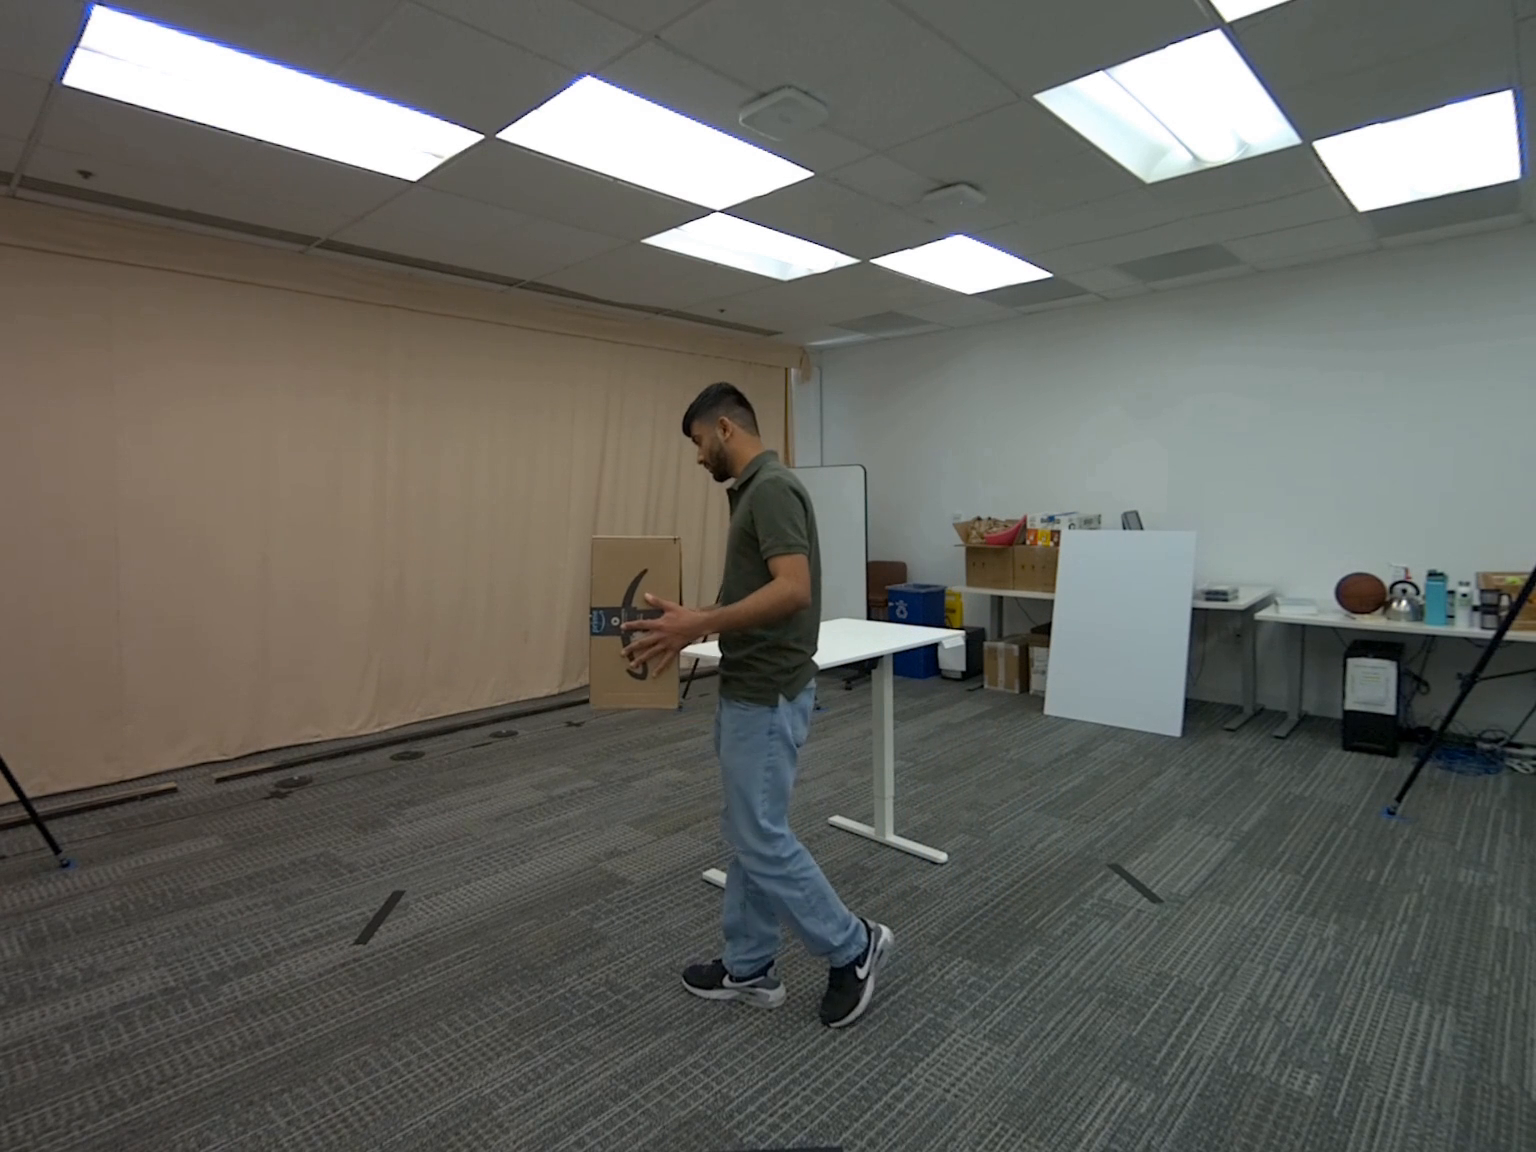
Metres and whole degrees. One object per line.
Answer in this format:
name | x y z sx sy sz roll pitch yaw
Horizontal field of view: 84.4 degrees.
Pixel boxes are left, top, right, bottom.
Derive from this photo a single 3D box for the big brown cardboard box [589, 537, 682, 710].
big brown cardboard box | -0.344 0.117 2.303 0.232 0.418 0.591 0 0 -5
